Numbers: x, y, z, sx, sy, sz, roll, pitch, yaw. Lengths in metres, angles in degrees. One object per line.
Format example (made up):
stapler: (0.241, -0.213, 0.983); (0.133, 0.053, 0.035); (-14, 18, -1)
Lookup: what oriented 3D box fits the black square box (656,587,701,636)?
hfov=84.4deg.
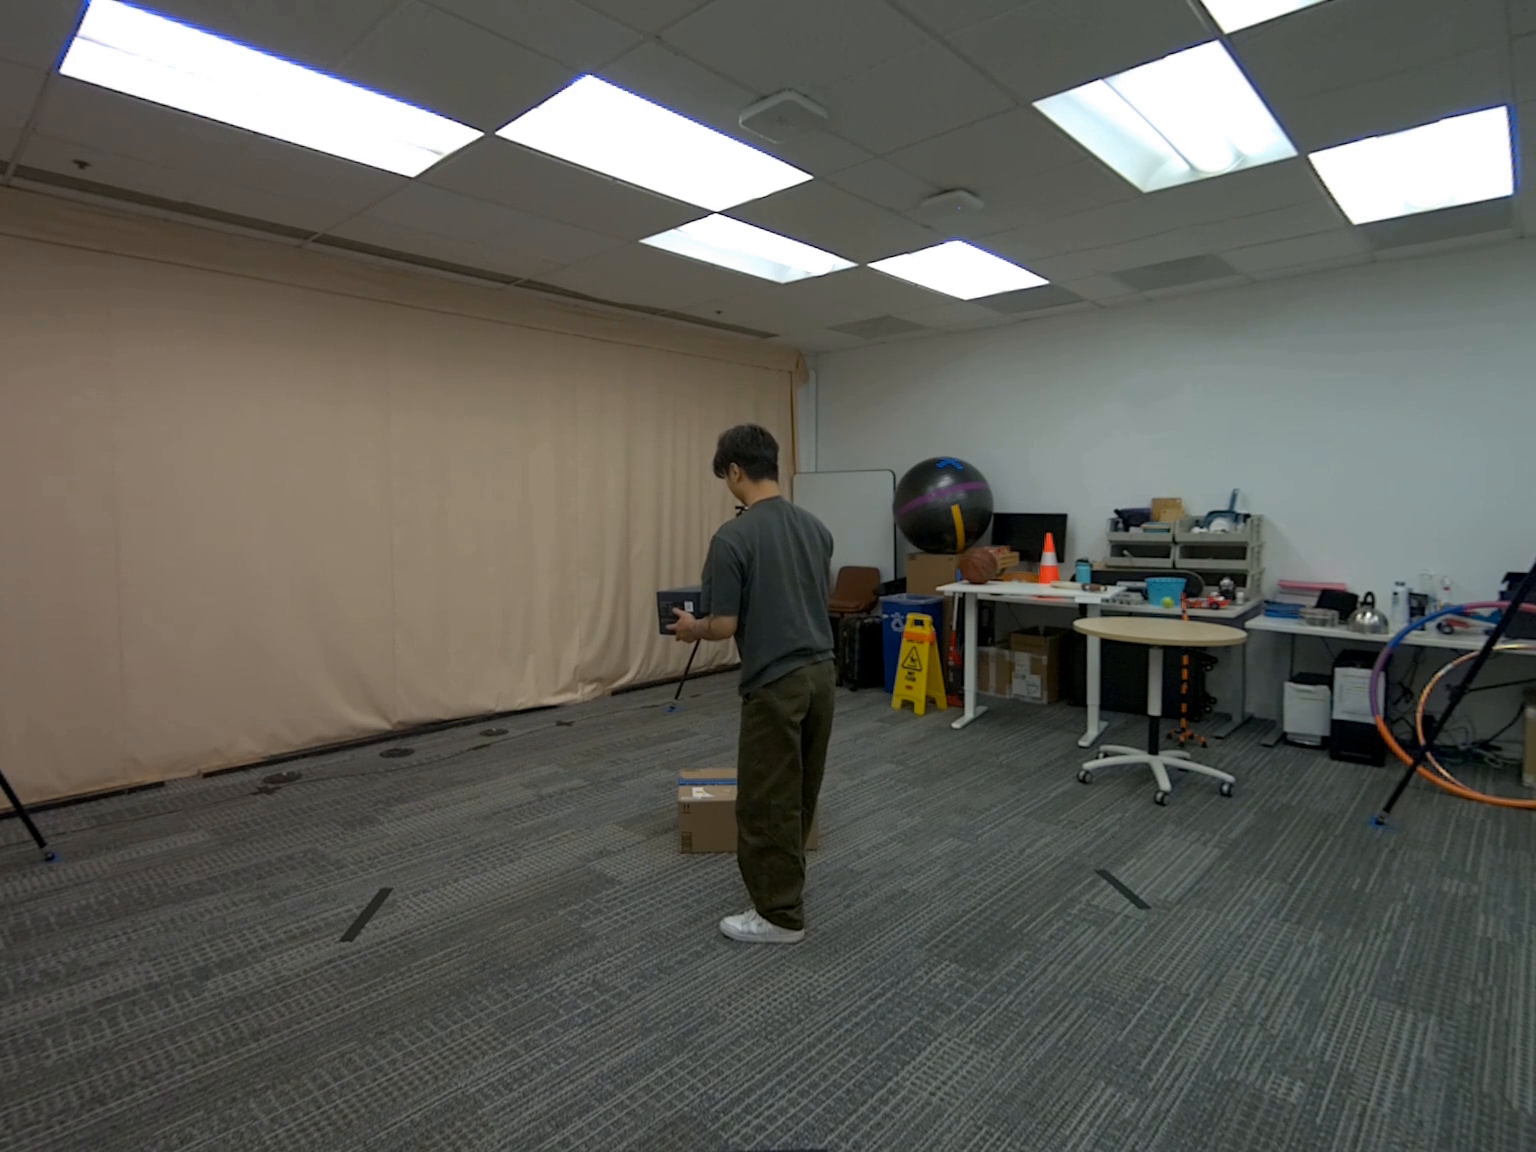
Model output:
black square box: (-0.239, 0.120, 3.007); (0.224, 0.155, 0.221); (-1, 5, 42)
